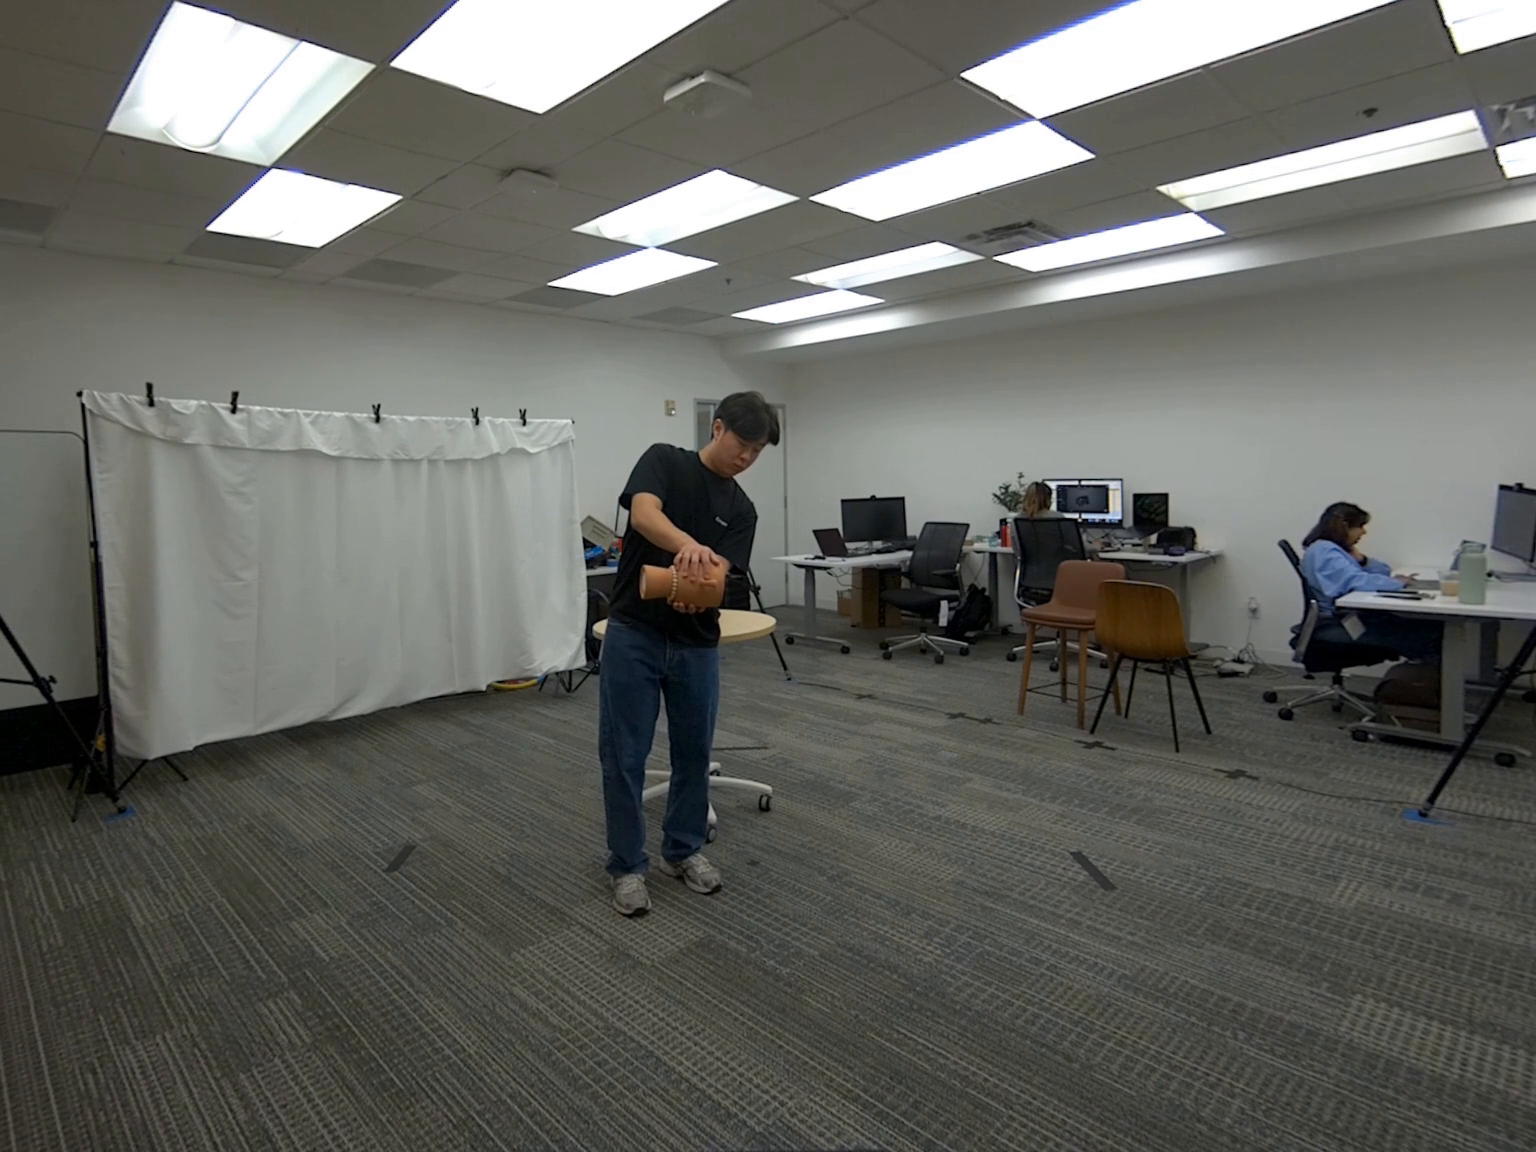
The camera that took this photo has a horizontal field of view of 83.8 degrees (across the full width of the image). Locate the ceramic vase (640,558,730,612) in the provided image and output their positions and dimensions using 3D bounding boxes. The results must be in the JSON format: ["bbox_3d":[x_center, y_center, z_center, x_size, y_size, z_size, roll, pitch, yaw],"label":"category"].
[{"bbox_3d":[-0.229,0.023,2.439,0.217,0.139,0.156,0,-41,-15],"label":"ceramic vase"}]
